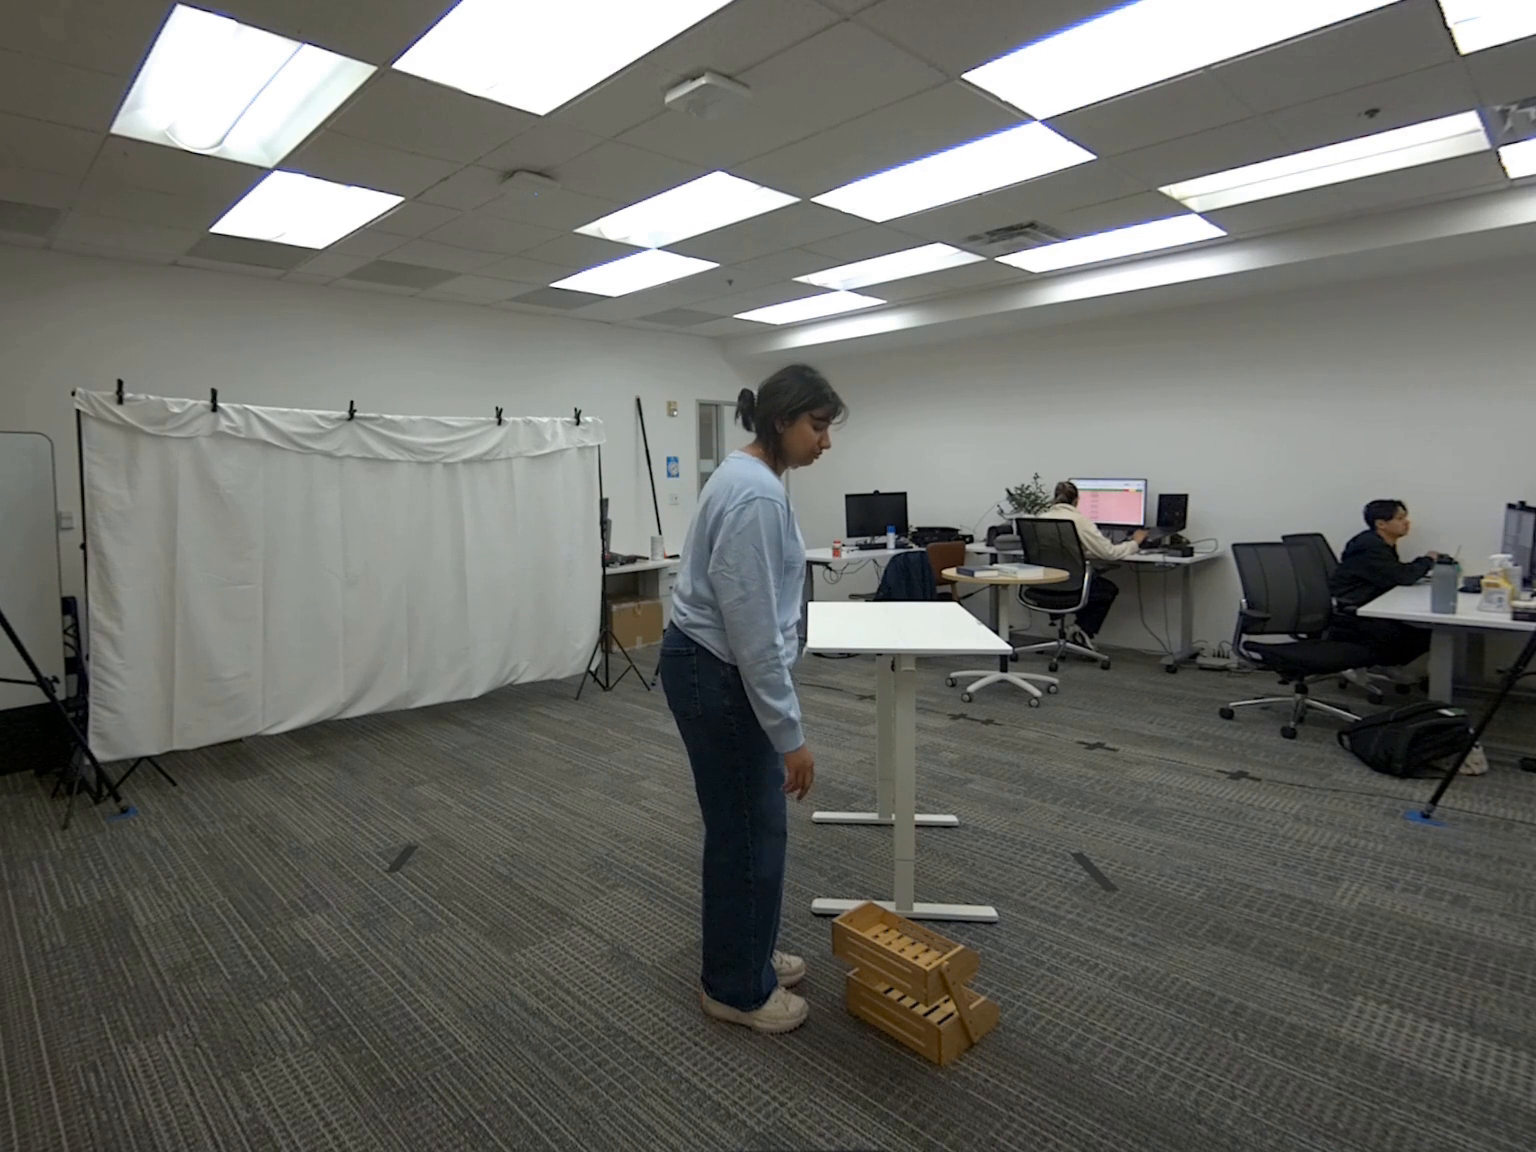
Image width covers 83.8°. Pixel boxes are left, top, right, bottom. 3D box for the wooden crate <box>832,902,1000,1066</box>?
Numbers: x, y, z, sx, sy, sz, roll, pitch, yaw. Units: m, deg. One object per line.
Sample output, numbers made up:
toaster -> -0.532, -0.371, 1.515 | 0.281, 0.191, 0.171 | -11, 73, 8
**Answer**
wooden crate -> 0.381, 1.000, 2.197 | 0.294, 0.272, 0.334 | -7, 7, -41
